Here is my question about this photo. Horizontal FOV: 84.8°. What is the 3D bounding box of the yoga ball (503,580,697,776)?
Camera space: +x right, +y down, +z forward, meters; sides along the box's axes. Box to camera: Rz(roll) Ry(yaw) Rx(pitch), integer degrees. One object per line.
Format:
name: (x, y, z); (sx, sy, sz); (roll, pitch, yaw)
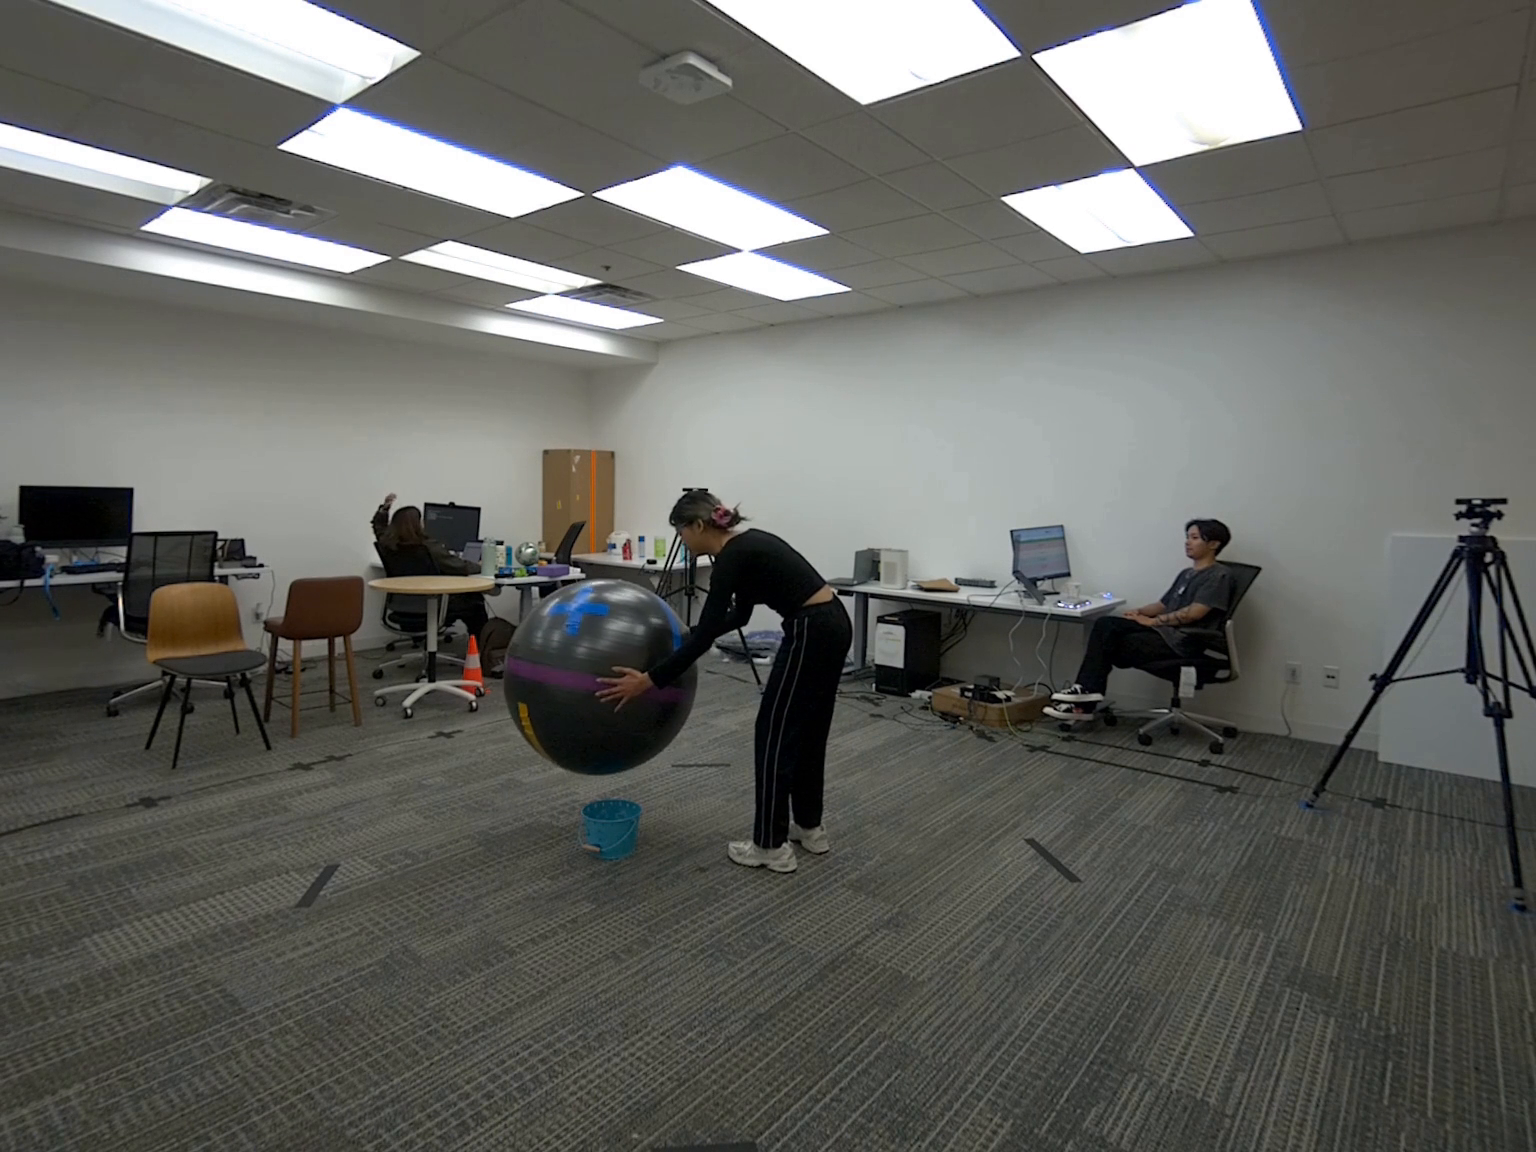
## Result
yoga ball: (-0.671, 0.402, 3.366); (0.757, 0.755, 0.762); (1, 4, -2)
